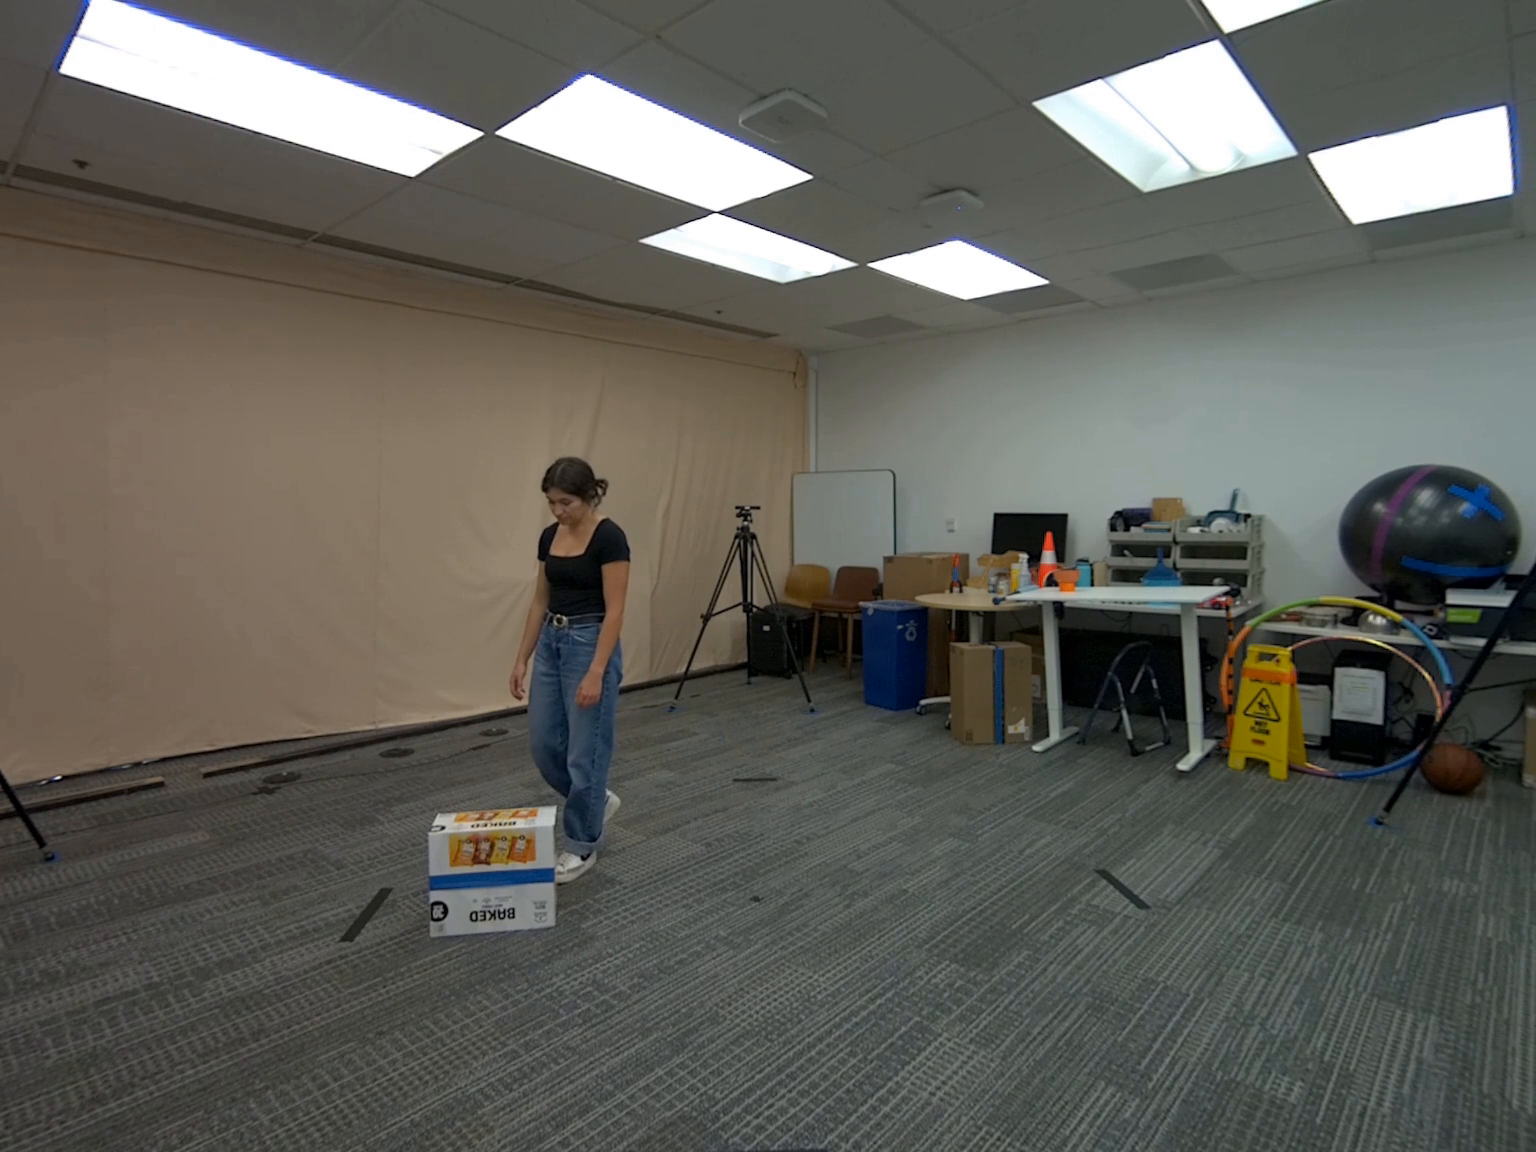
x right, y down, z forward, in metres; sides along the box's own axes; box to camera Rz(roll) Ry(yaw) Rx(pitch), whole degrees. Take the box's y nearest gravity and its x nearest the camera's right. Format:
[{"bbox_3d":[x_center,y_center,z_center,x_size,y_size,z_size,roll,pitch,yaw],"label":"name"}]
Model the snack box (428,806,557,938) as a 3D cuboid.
[{"bbox_3d":[-0.927,0.990,2.855,0.401,0.340,0.208,-1,1,-9],"label":"snack box"}]
